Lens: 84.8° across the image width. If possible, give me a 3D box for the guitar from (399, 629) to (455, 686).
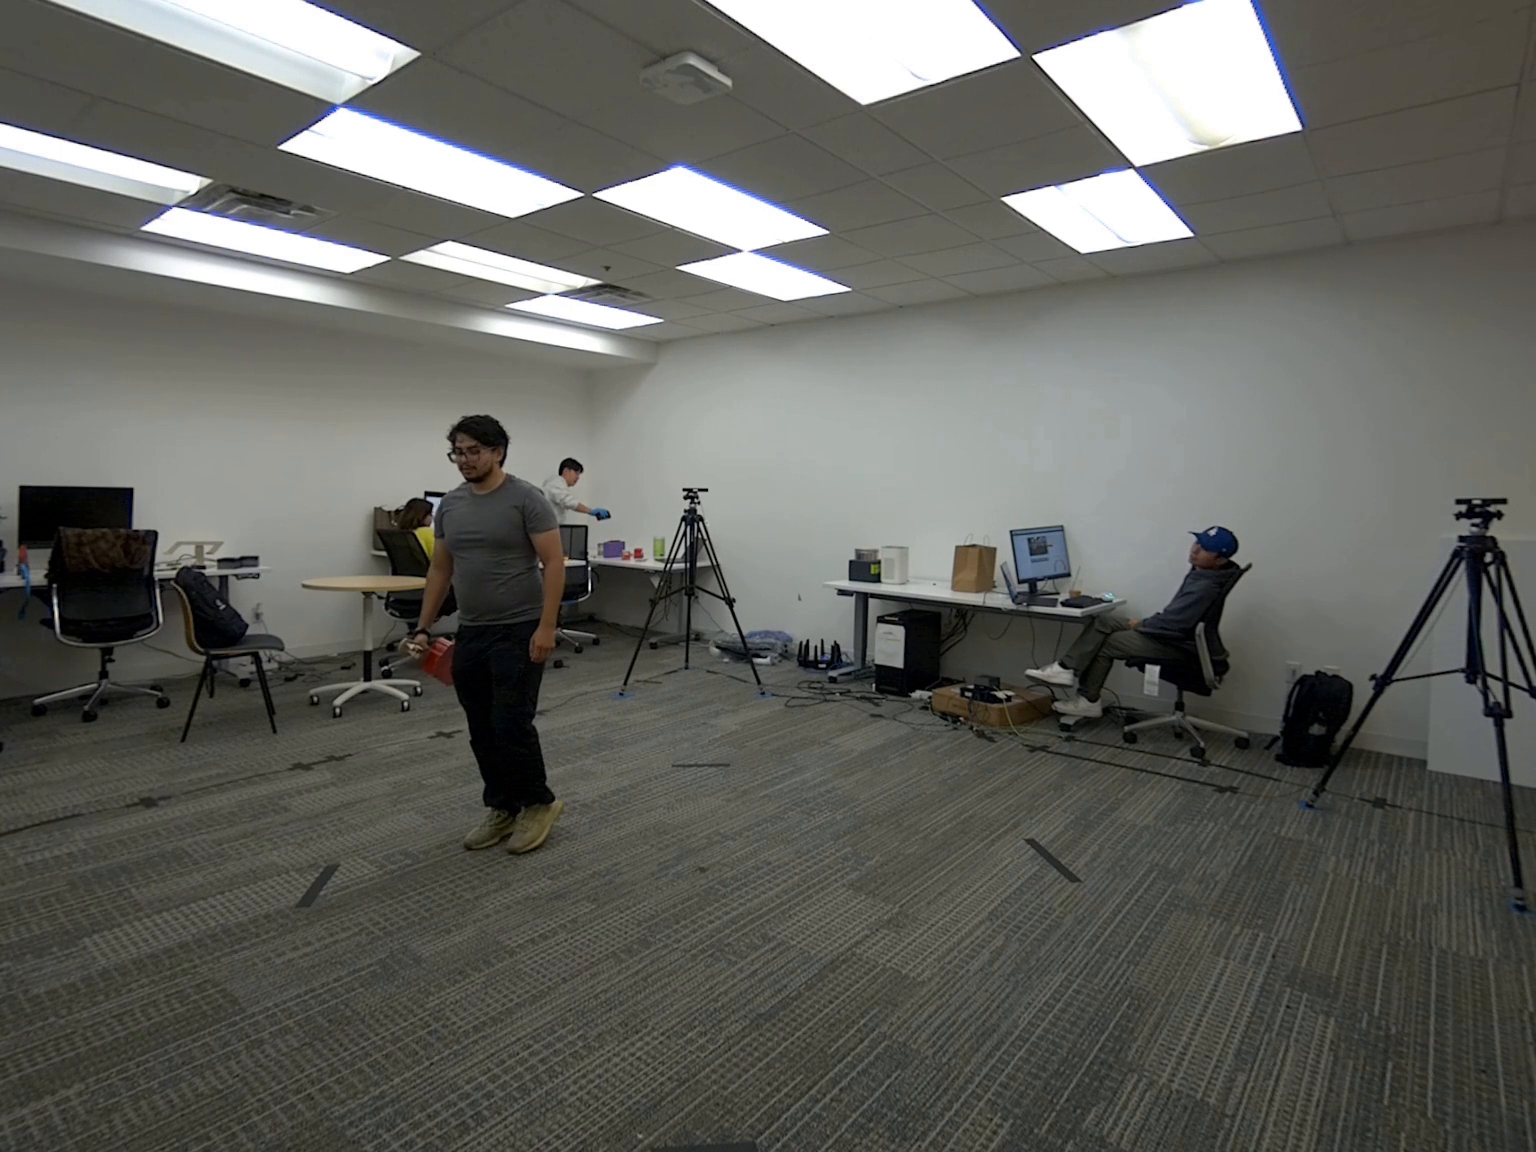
[{"bbox_3d":[-1.325,0.339,3.316,0.072,0.193,0.490,24,-1,9],"label":"guitar"}]
